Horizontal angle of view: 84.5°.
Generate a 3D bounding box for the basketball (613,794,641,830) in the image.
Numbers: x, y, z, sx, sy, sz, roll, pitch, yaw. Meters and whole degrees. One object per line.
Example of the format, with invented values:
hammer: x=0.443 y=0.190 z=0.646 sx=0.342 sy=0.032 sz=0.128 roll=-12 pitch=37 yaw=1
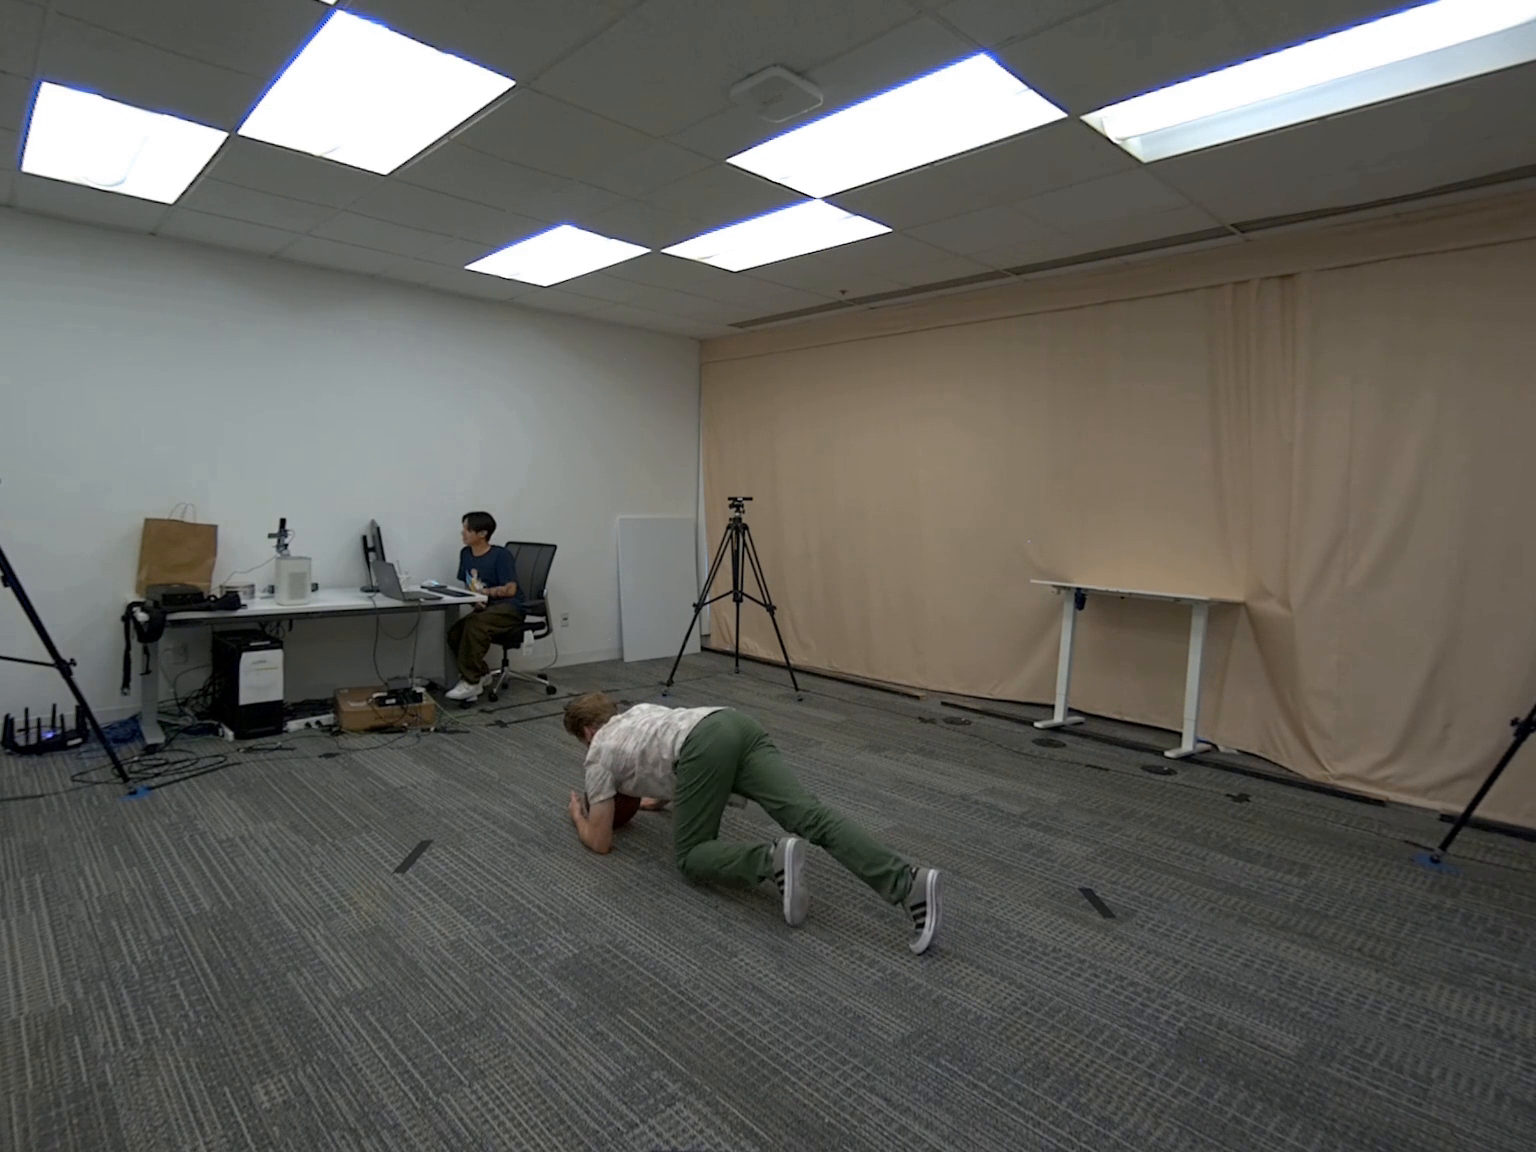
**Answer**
basketball: x=-0.666 y=0.940 z=3.564 sx=0.236 sy=0.235 sz=0.237 roll=1 pitch=4 yaw=-1
